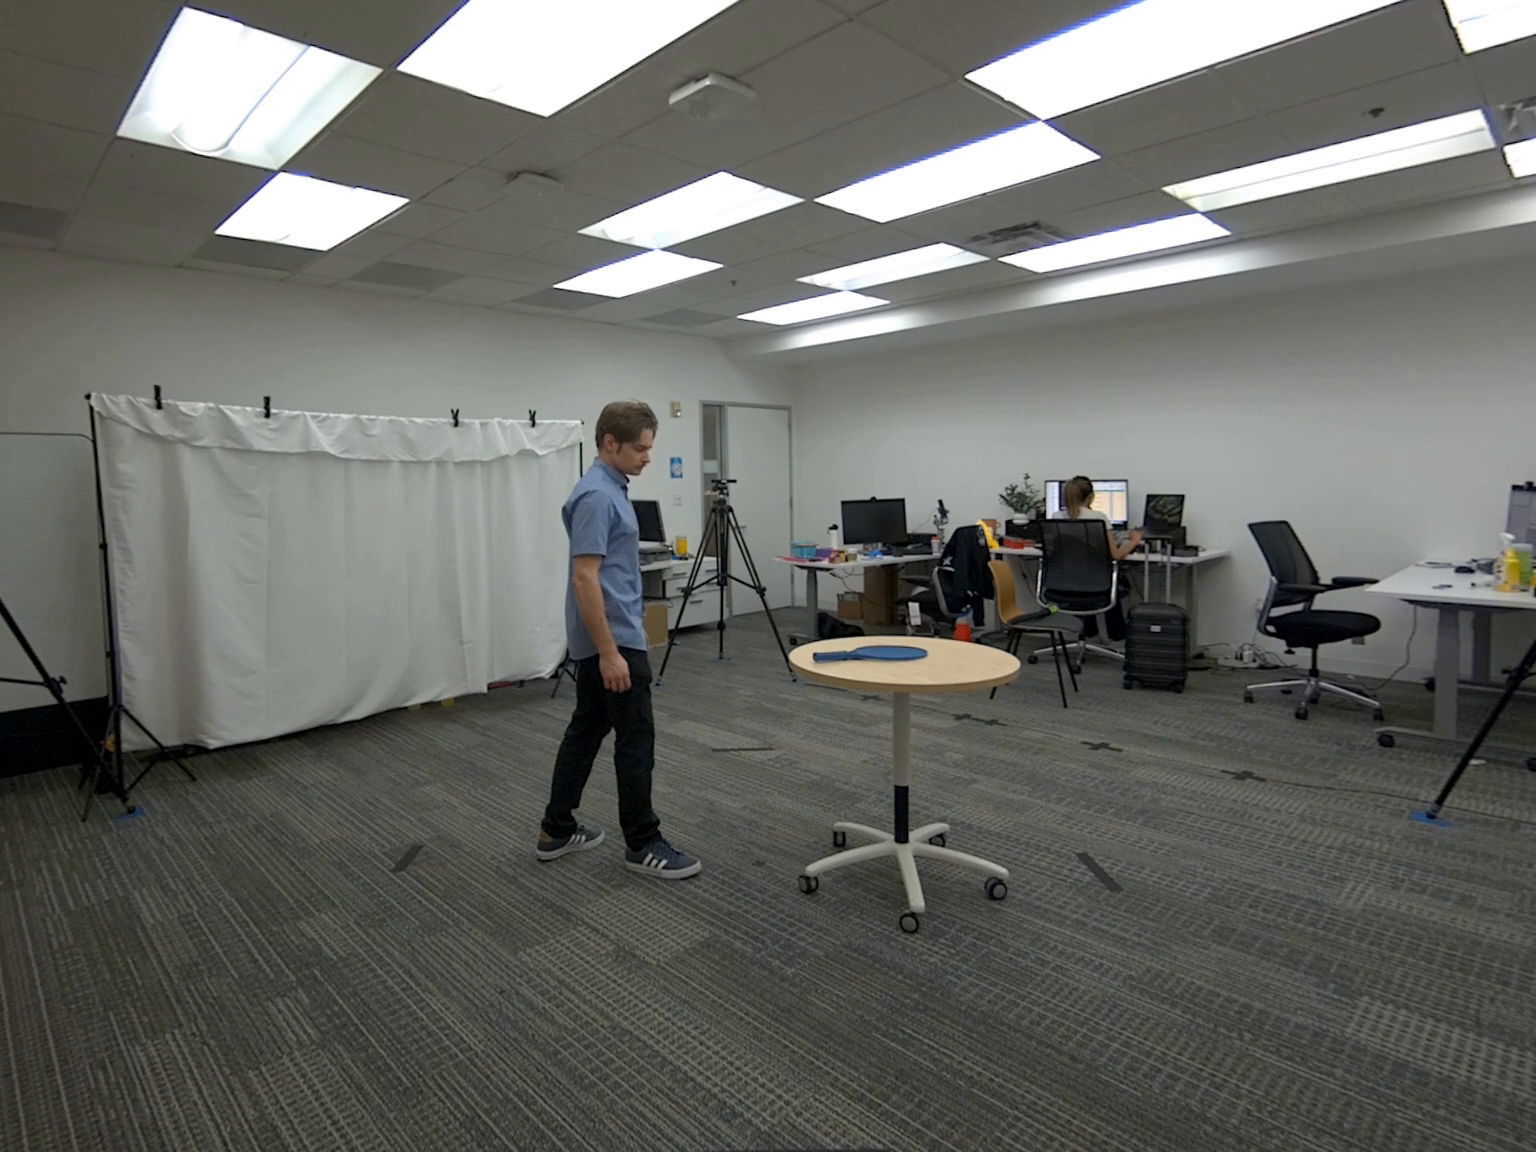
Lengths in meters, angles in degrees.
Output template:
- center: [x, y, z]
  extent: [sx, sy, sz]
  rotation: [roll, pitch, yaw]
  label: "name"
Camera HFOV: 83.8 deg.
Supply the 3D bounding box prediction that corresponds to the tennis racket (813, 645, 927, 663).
- center: [0.352, 0.265, 2.927]
  extent: [0.424, 0.031, 0.219]
  rotation: [-1, 7, -22]
  label: "tennis racket"
